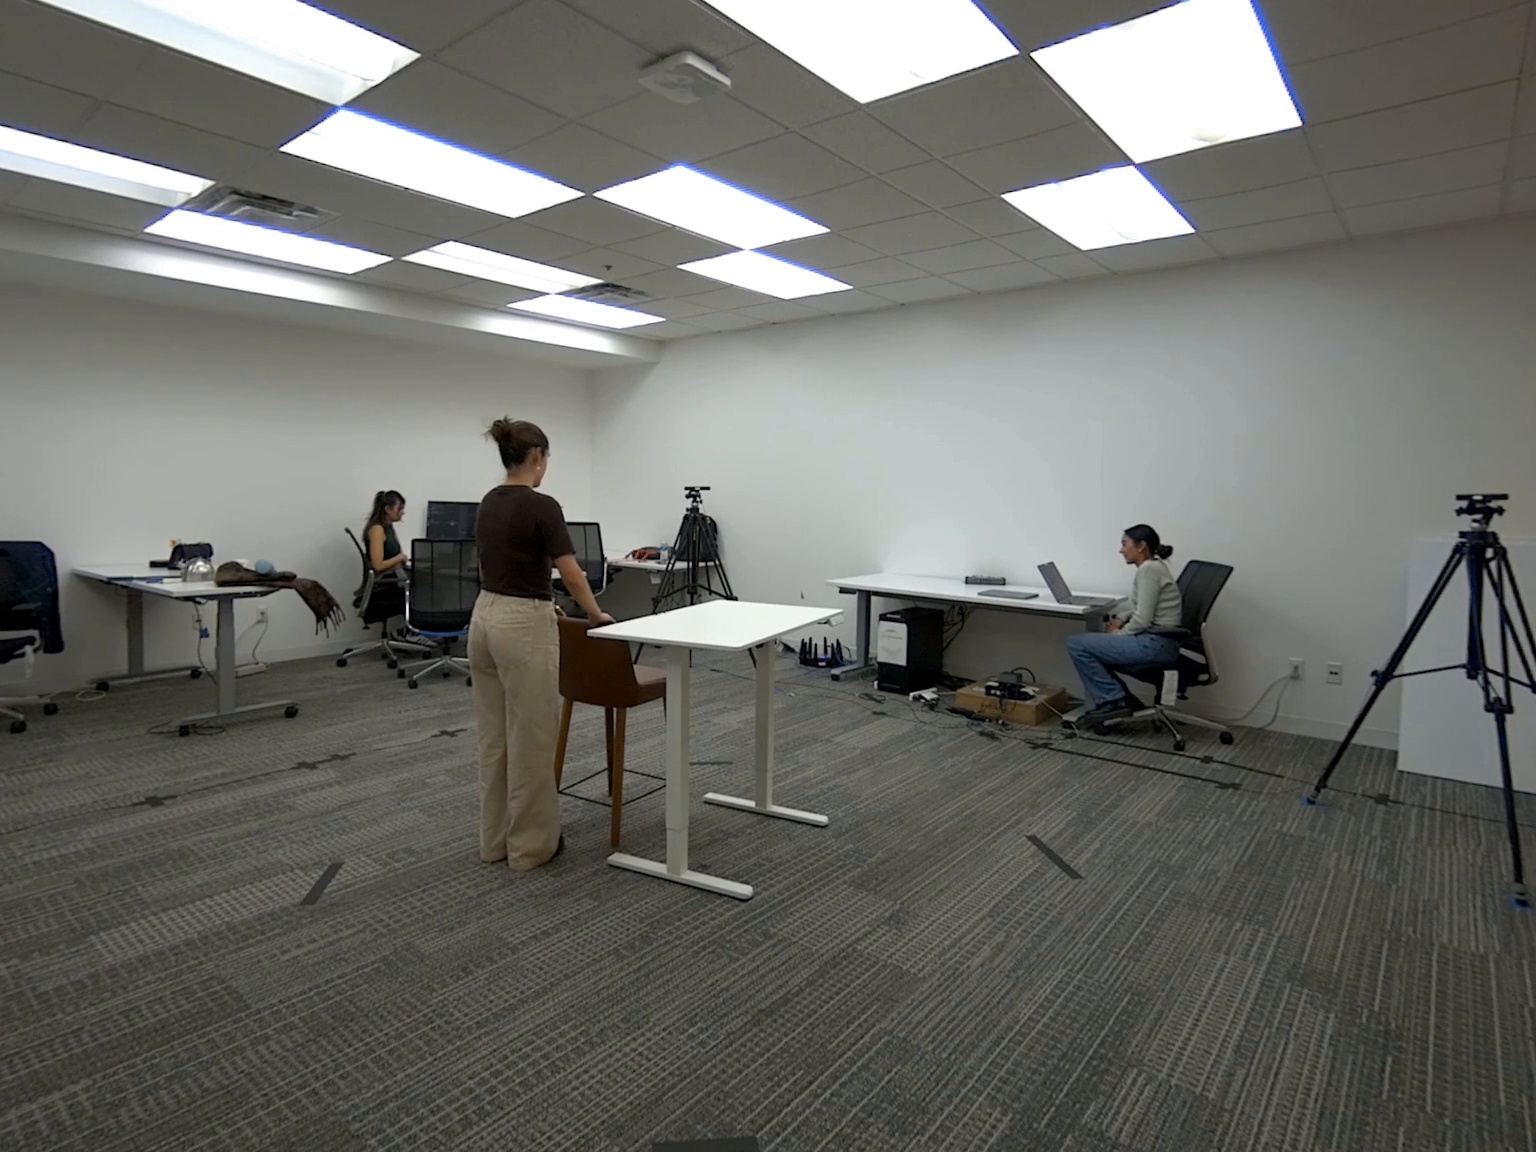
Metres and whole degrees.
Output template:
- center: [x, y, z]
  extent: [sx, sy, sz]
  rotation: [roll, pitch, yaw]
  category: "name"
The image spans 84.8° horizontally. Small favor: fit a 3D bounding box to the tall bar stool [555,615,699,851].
- center: [-0.655, 0.583, 3.525]
  extent: [0.470, 0.886, 0.456]
  rotation: [2, 5, 31]
  category: "tall bar stool"
